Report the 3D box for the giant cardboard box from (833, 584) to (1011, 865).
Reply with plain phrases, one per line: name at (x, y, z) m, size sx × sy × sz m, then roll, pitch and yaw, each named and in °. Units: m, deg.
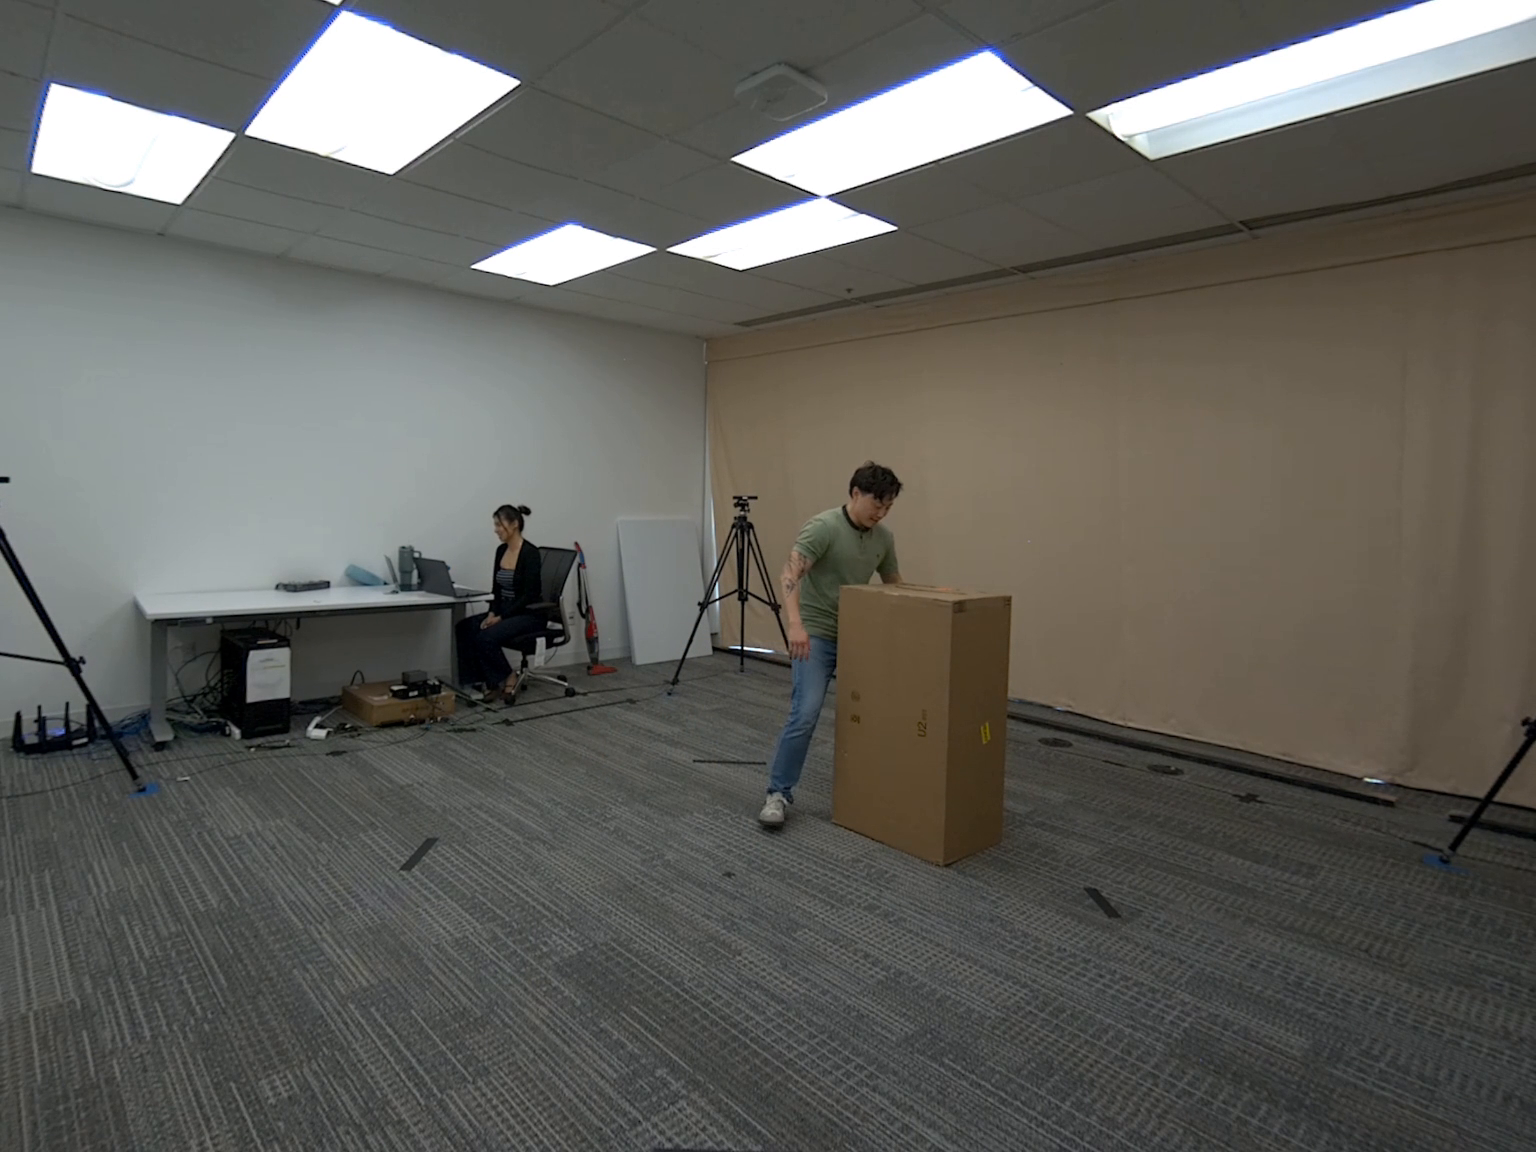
giant cardboard box at (0.632, 0.570, 3.543) m, size 0.416 × 1.024 × 0.592 m, roll -1°, pitch 3°, yaw -42°
